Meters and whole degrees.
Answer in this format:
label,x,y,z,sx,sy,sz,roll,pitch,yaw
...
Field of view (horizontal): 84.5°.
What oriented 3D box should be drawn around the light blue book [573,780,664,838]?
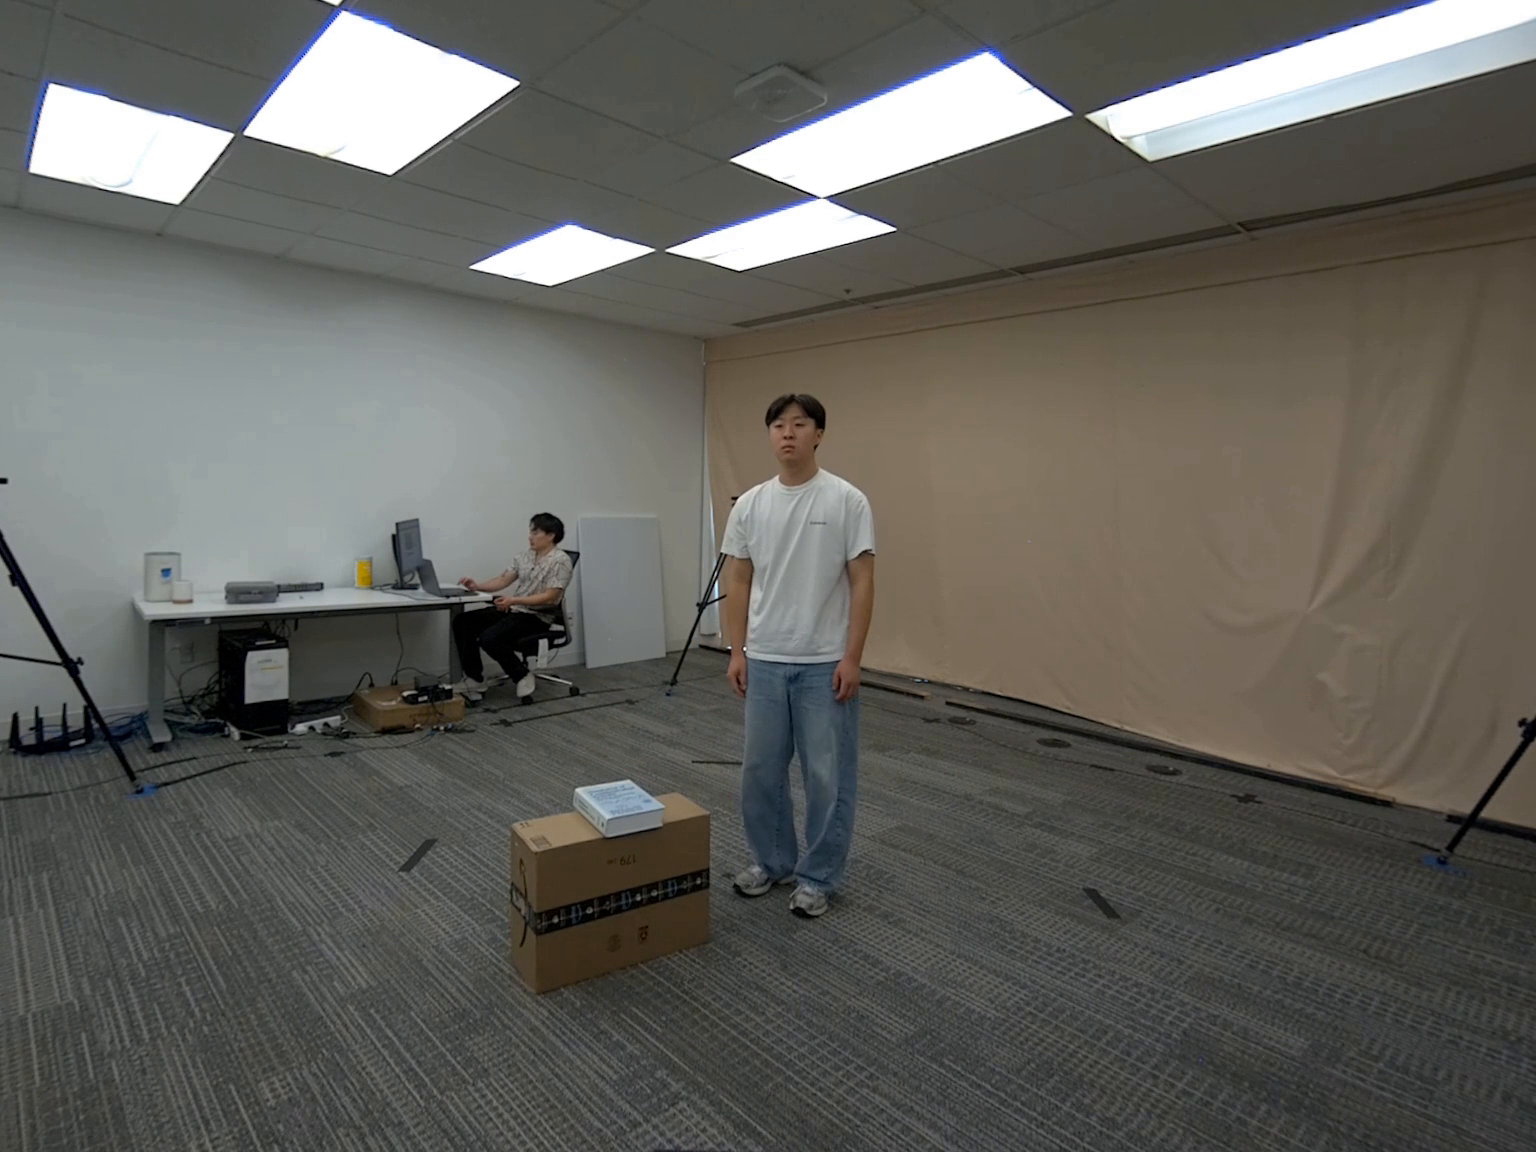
label,x,y,z,sx,sy,sz,roll,pitch,yaw
light blue book,-0.464,0.706,2.555,0.187,0.059,0.267,-1,7,-33
